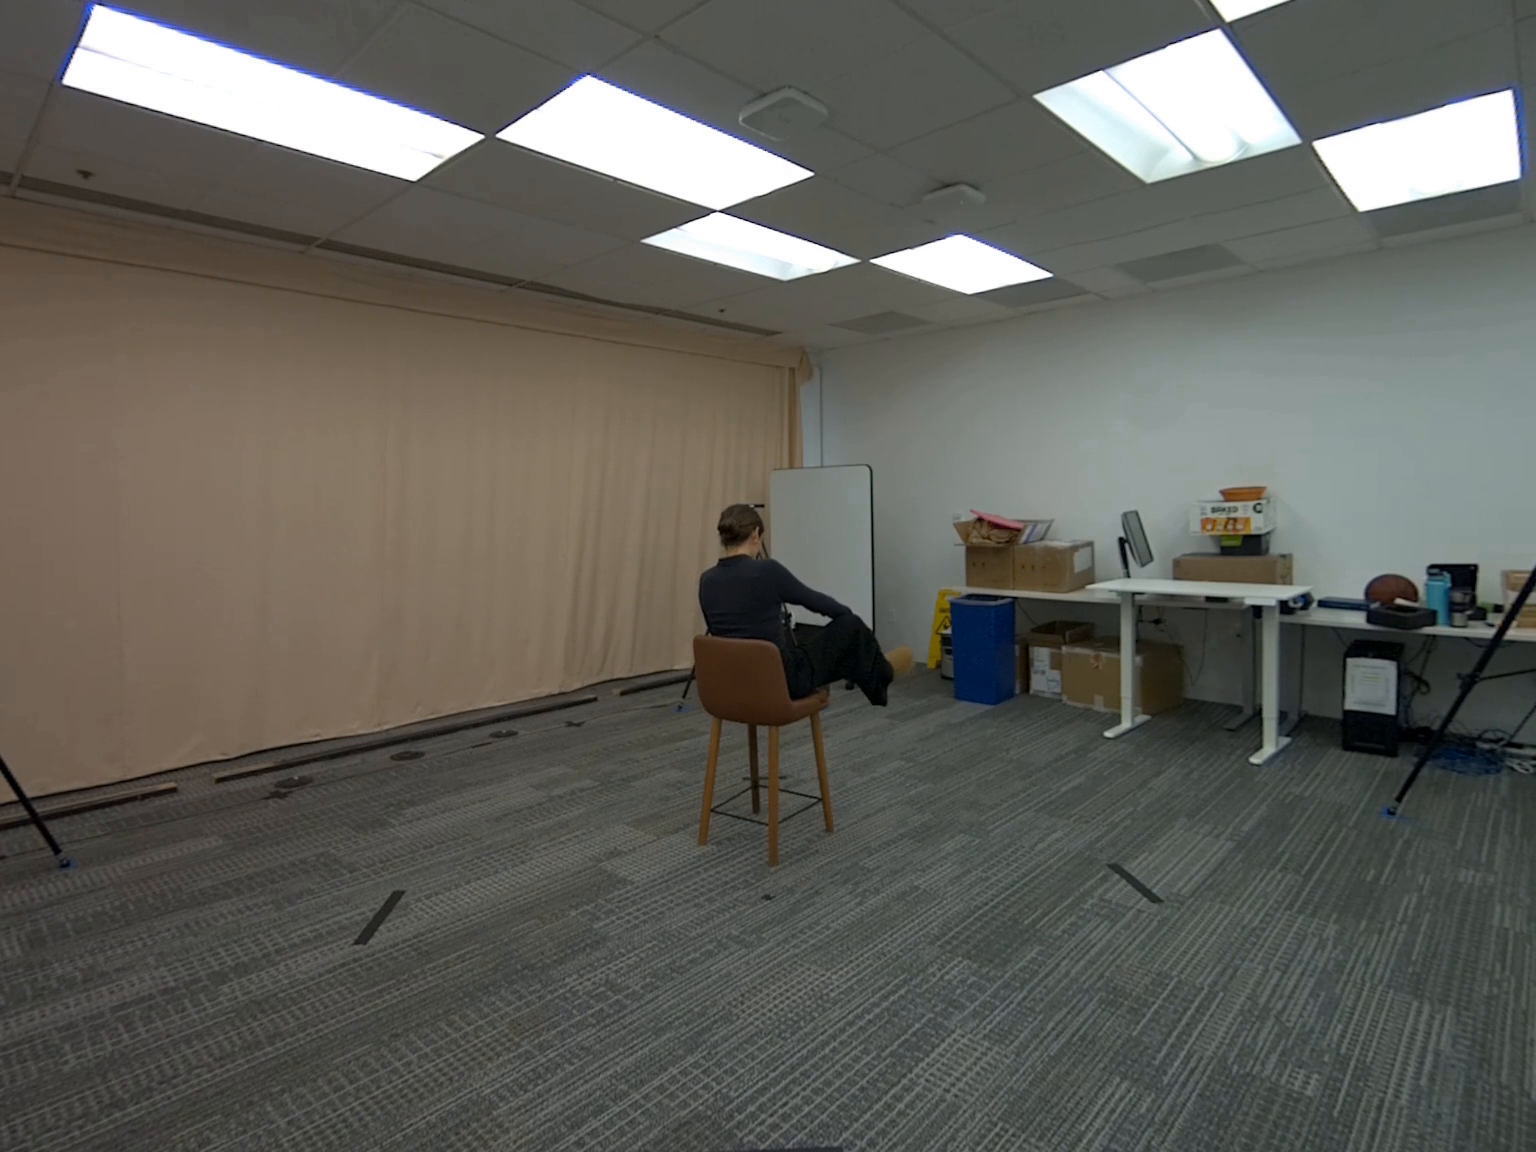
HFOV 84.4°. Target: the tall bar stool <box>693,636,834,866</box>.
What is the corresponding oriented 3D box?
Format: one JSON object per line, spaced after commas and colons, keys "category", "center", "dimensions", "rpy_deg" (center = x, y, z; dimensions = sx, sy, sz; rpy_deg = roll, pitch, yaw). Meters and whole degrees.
{"category": "tall bar stool", "center": [-0.023, 0.662, 3.496], "dimensions": [0.471, 0.887, 0.455], "rpy_deg": [1, 6, 35]}
